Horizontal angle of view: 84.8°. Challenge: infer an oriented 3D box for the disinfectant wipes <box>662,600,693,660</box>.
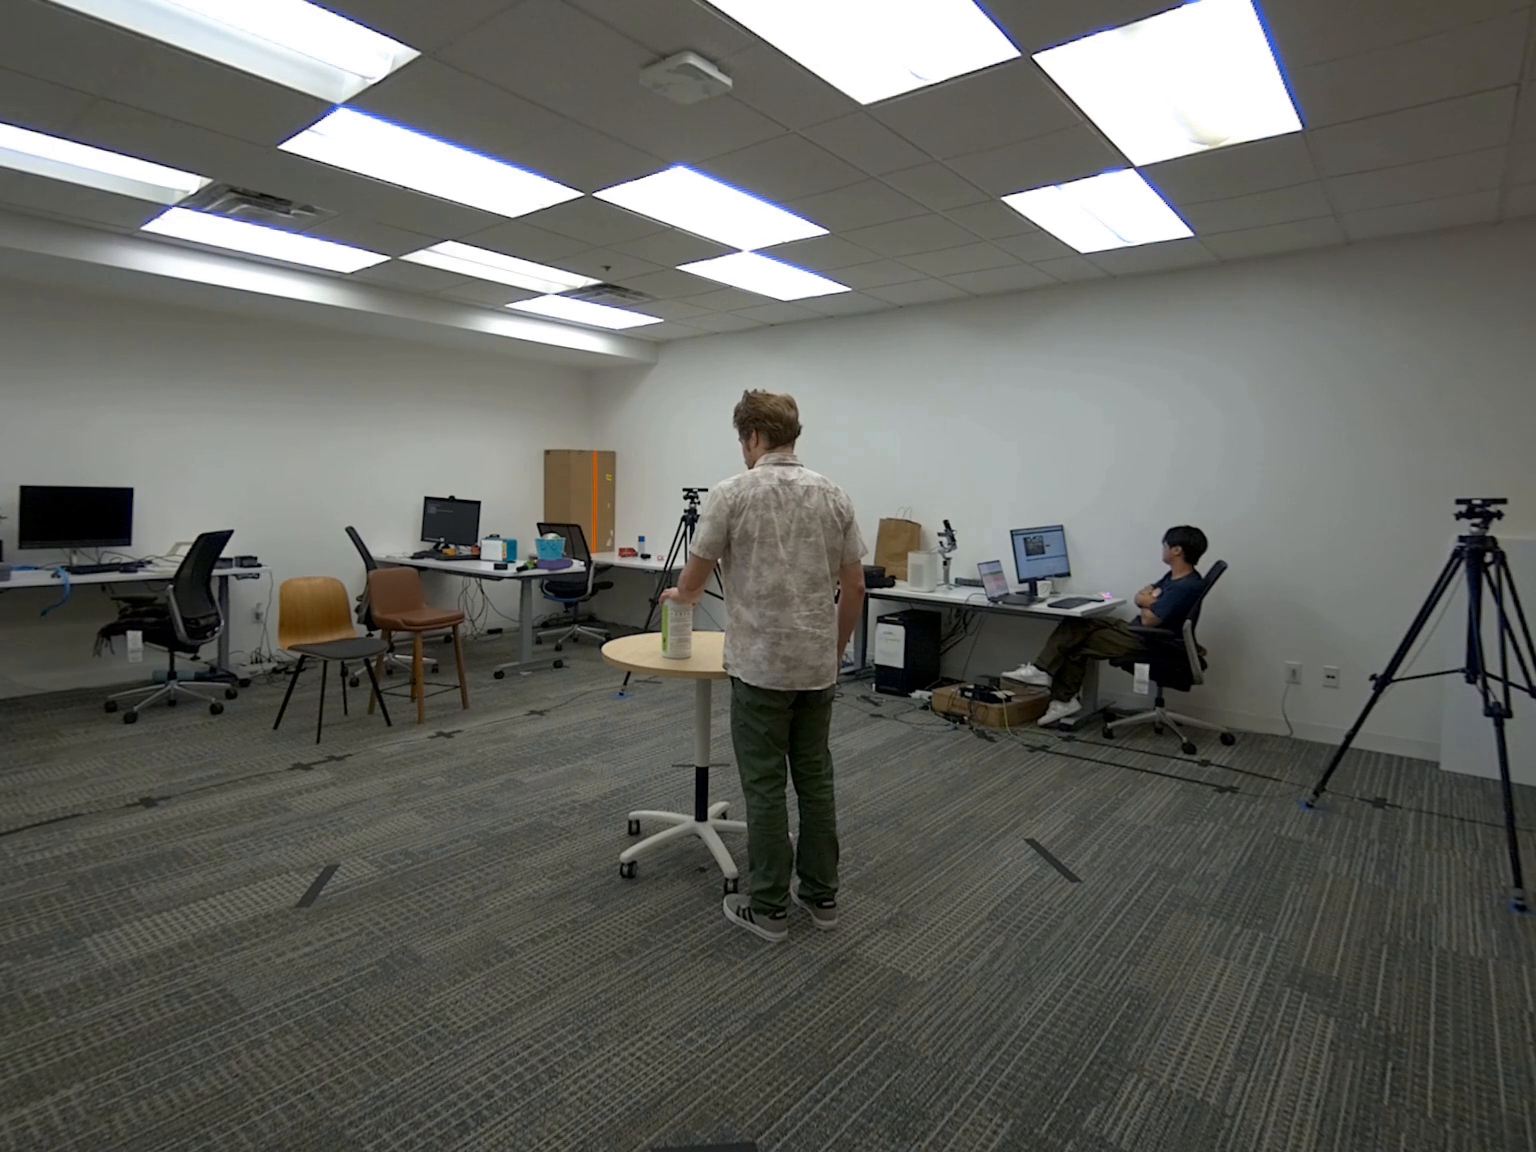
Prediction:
[{"bbox_3d":[-0.332,0.179,3.033,0.118,0.217,0.118,0,4,-2],"label":"disinfectant wipes"}]
